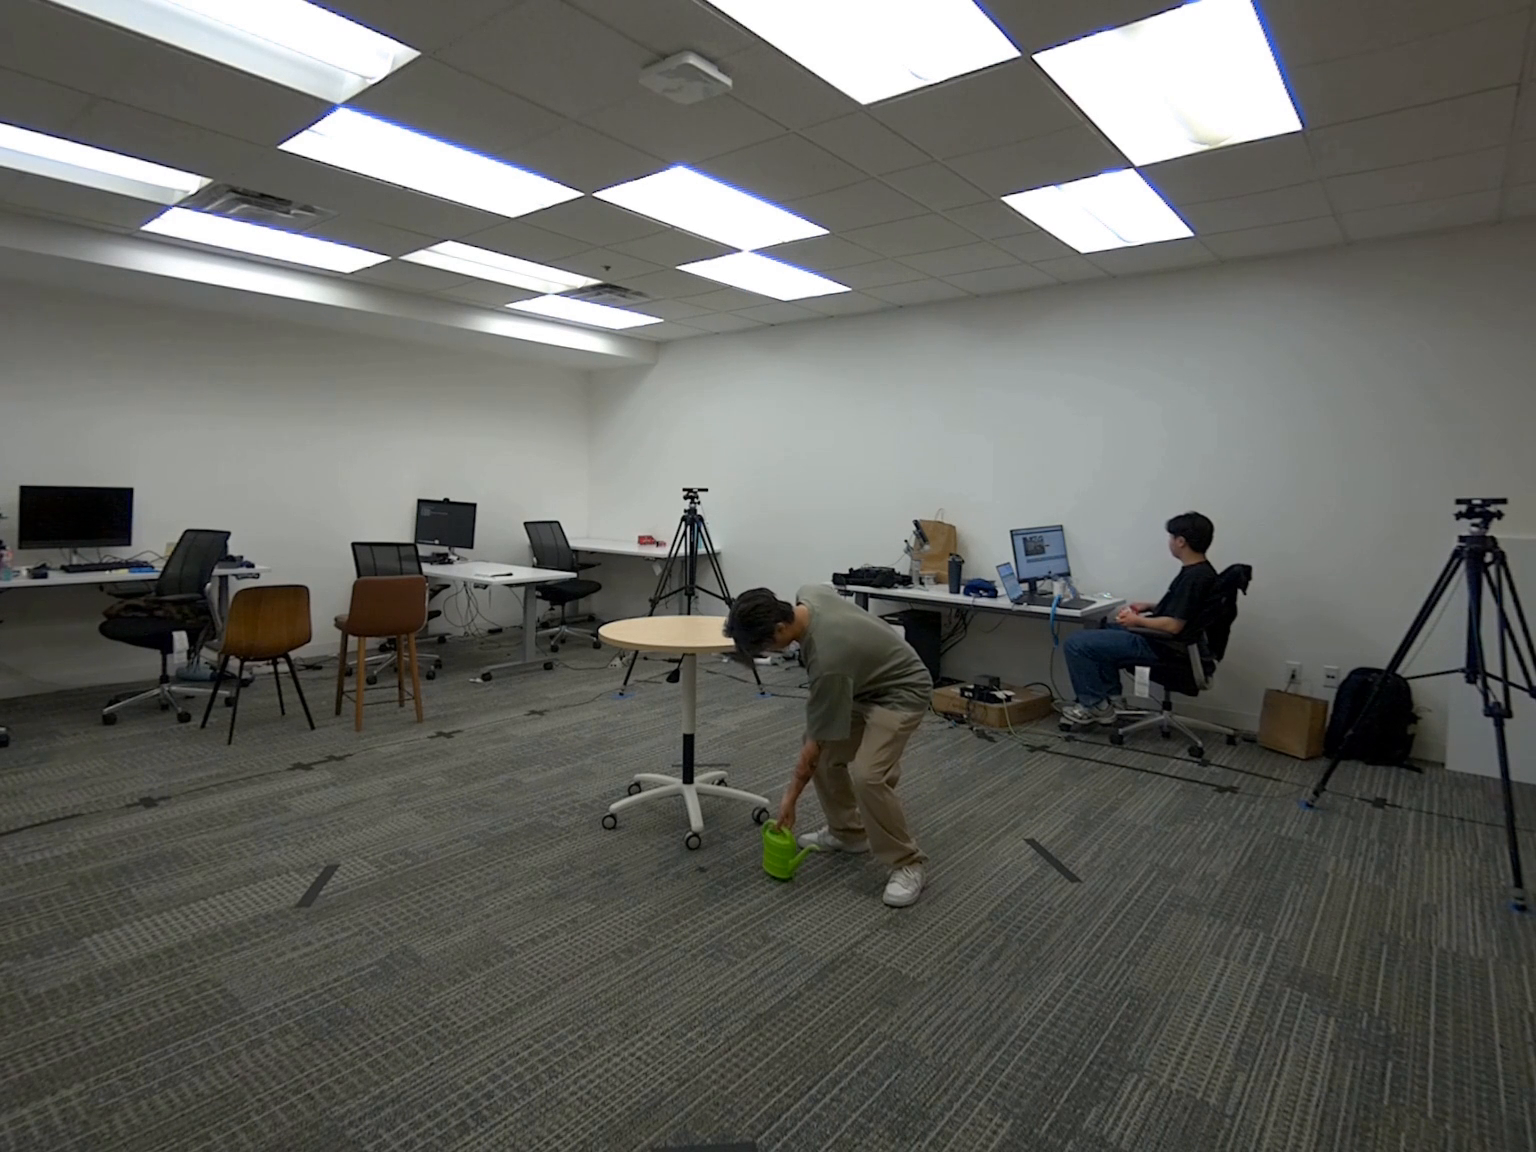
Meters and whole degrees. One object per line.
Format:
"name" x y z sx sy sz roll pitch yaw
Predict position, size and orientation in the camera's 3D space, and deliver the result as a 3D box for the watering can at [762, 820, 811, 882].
"watering can" 0.055 0.973 3.013 0.095 0.175 0.287 -3 9 -28
